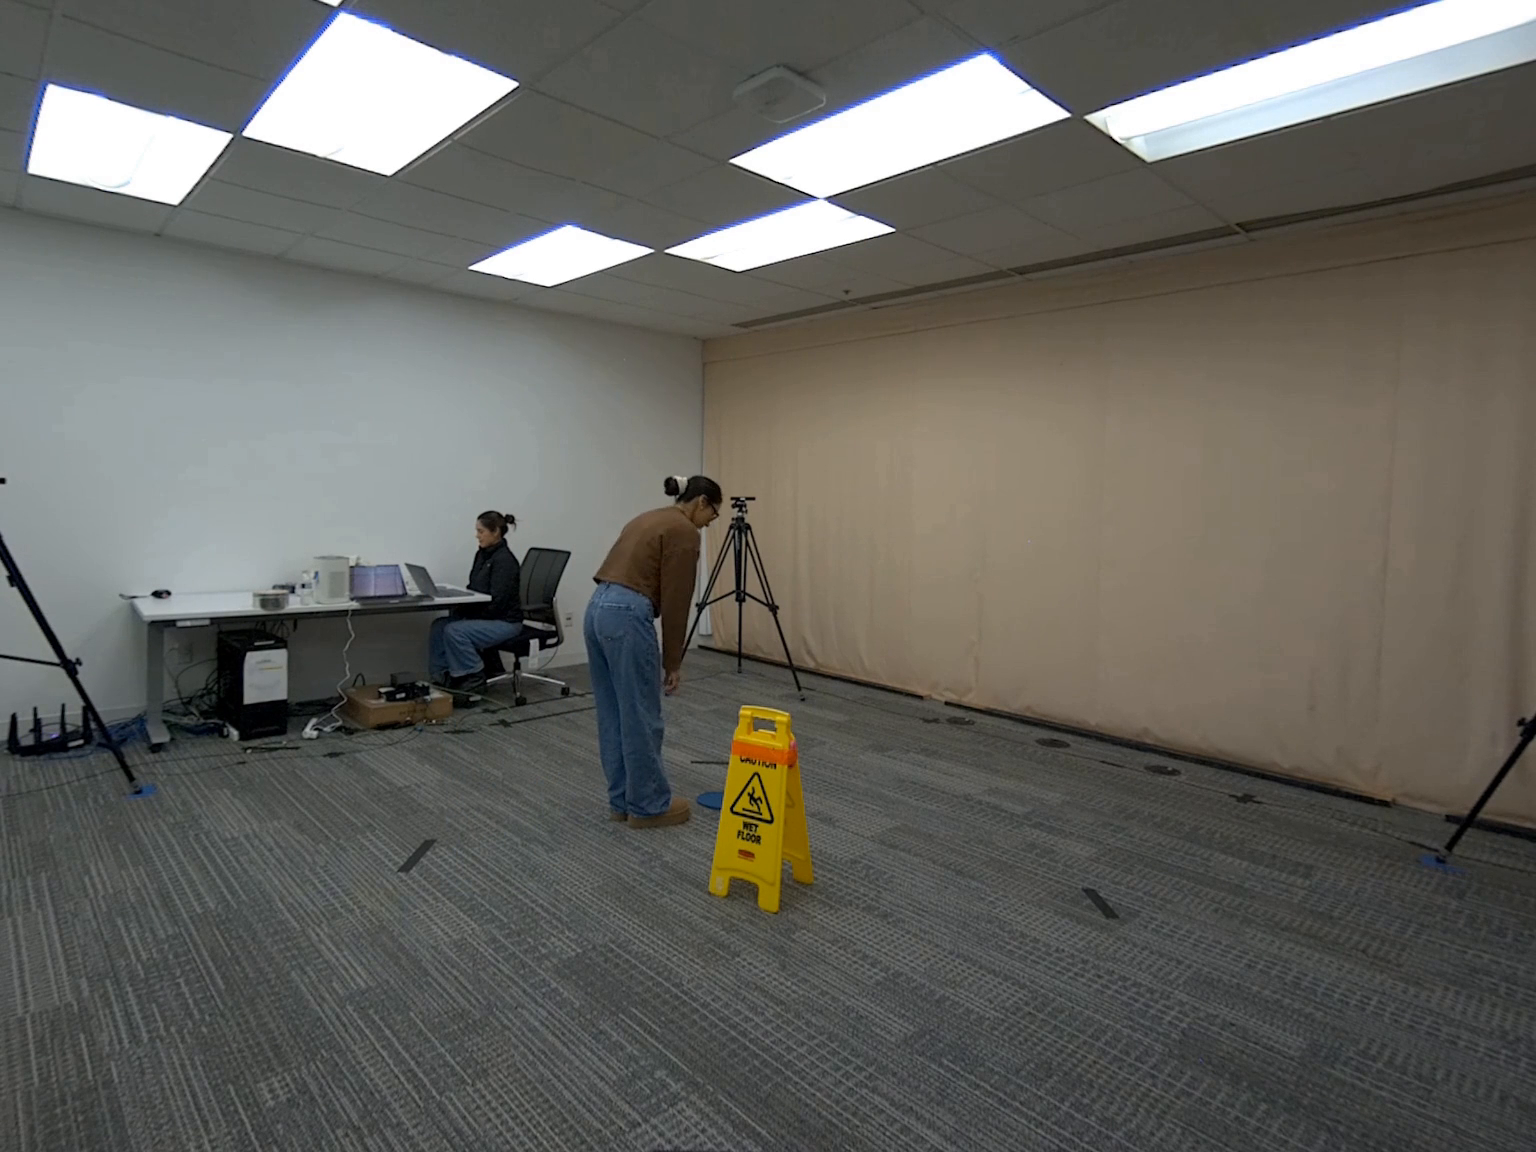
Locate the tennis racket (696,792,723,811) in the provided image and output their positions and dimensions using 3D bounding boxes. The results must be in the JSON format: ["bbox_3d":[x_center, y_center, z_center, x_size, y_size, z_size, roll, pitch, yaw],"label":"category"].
[{"bbox_3d":[-0.137,1.034,3.816,0.442,0.031,0.210,4,7,30],"label":"tennis racket"}]
